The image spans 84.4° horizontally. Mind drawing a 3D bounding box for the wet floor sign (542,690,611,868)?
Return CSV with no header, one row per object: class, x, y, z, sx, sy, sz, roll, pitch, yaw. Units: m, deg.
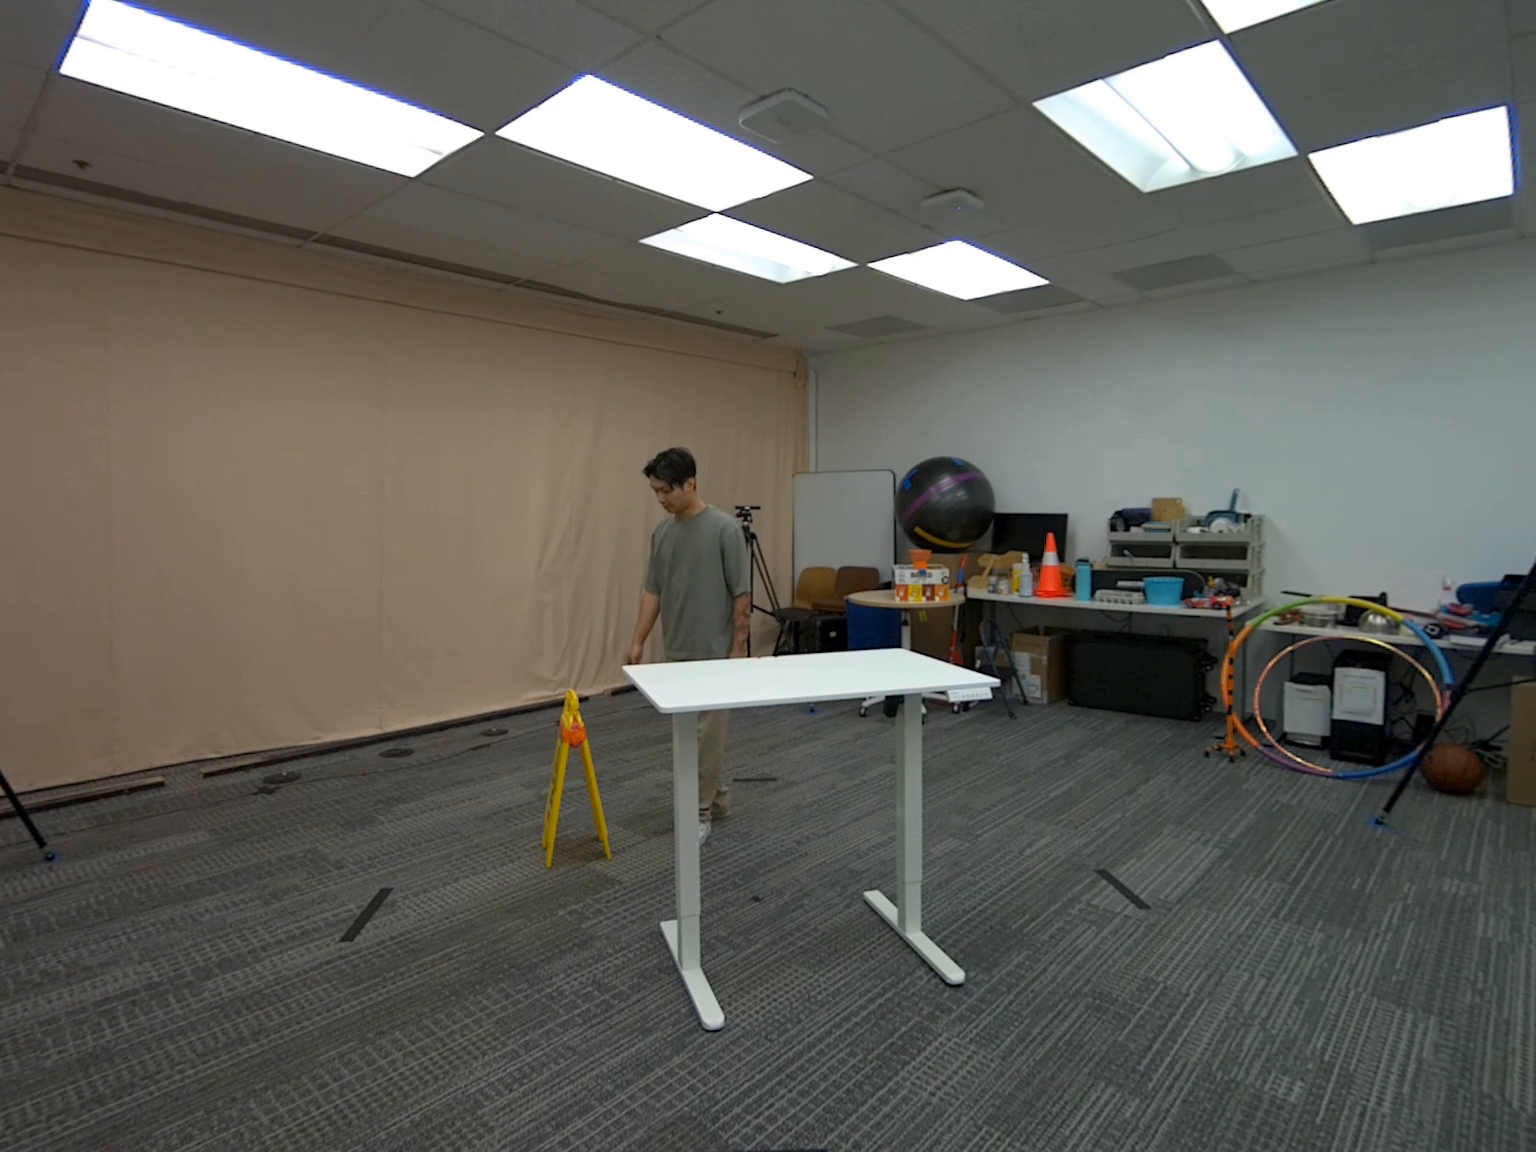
wet floor sign,-0.787,0.791,3.395,0.285,0.645,0.287,-2,3,-17
